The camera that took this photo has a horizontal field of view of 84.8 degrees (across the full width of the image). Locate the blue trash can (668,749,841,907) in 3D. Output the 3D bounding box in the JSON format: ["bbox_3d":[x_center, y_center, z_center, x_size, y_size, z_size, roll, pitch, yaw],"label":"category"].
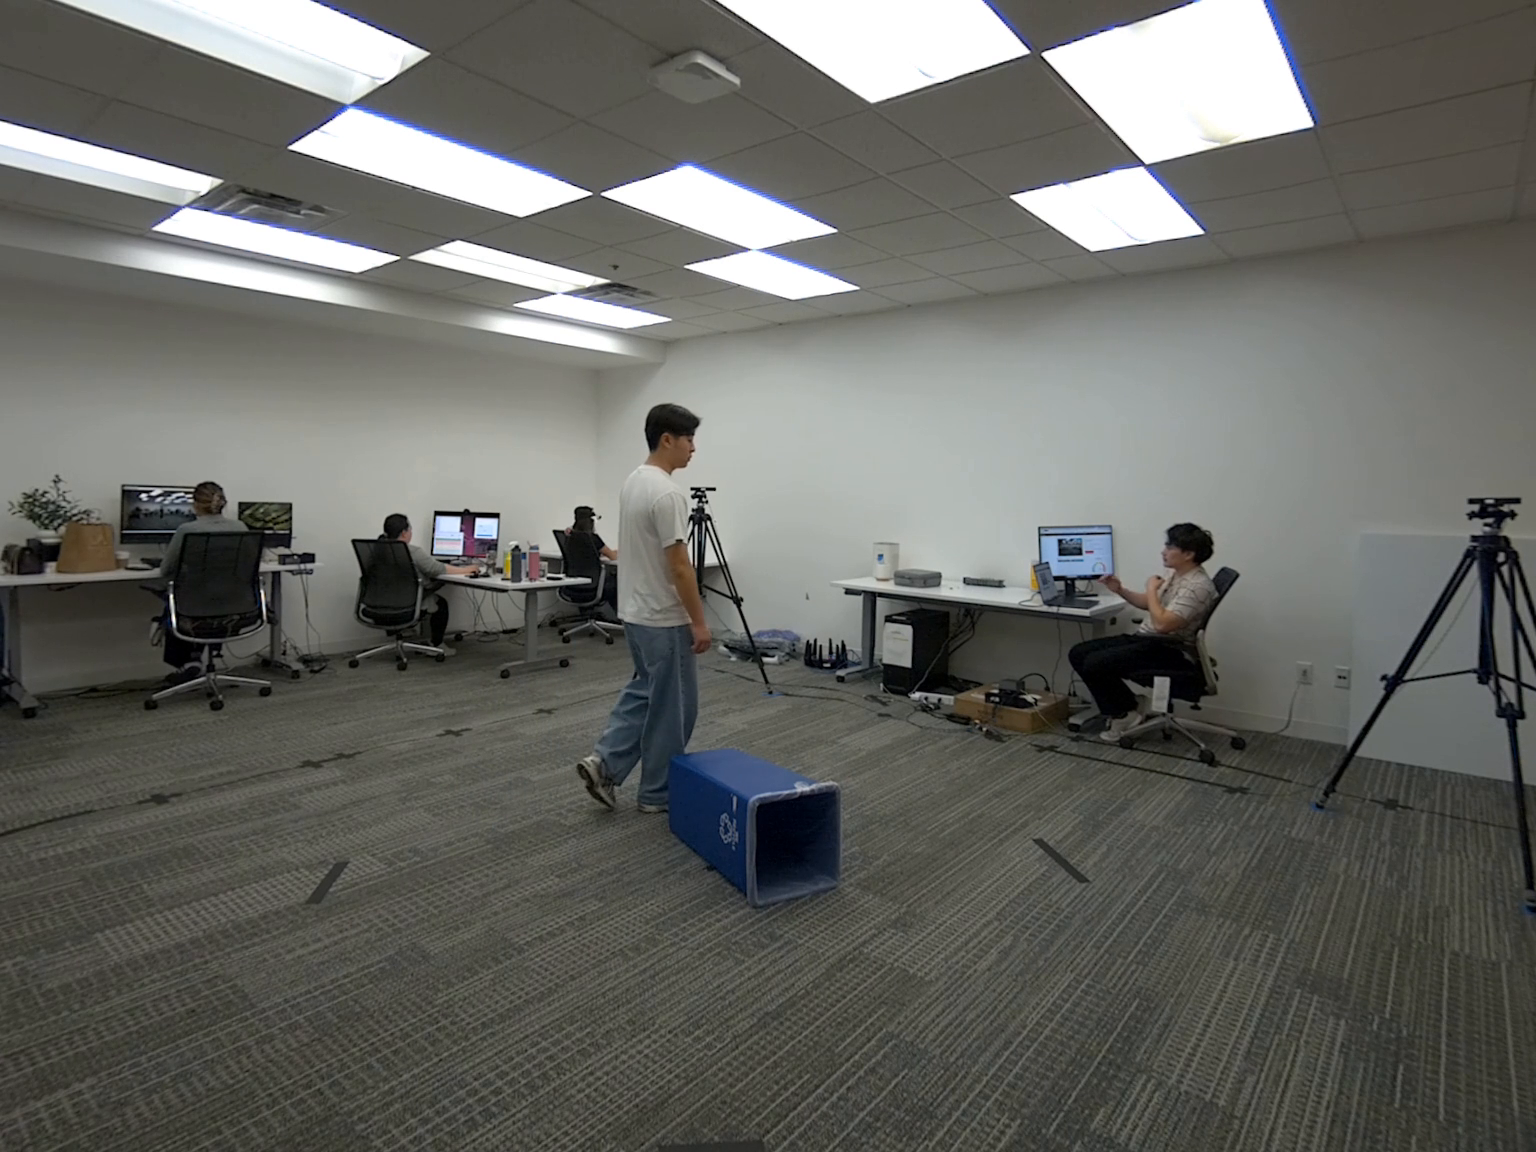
[{"bbox_3d":[-0.098,0.894,3.195,0.364,0.378,0.734,-1,3,-32],"label":"blue trash can"}]
